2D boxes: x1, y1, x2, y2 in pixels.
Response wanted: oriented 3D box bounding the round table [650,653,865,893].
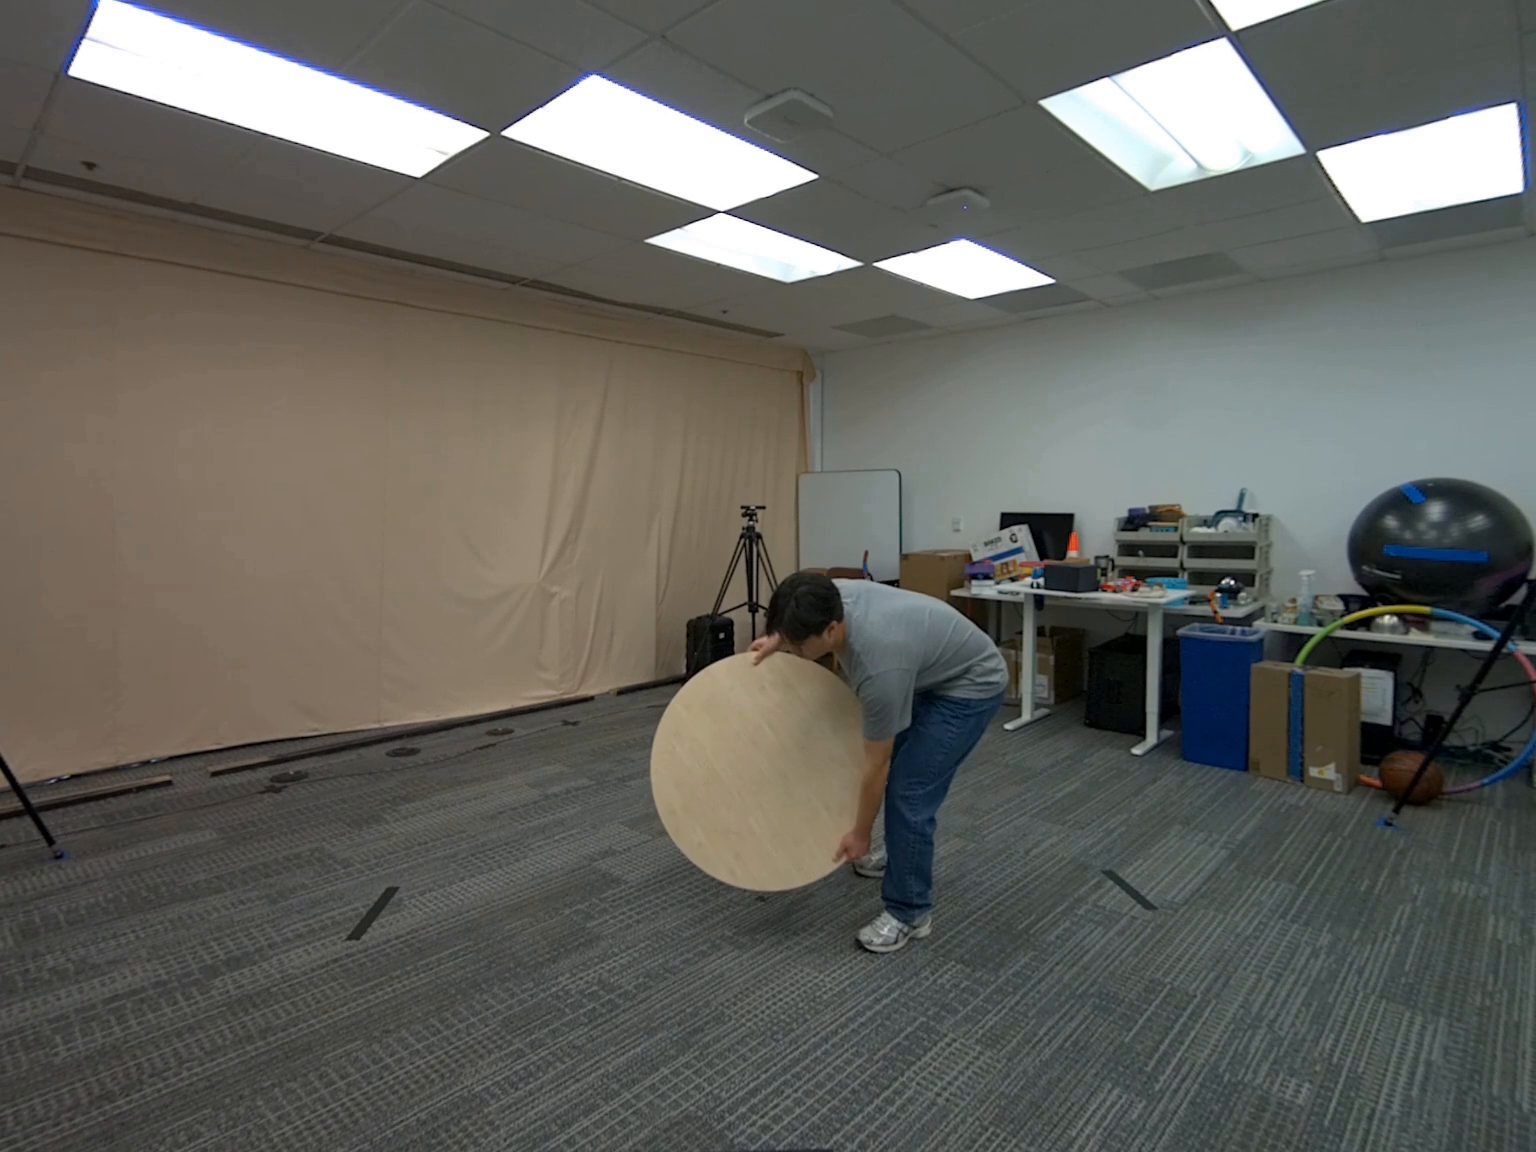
[{"bbox_3d":[-0.010,0.743,3.143,0.767,0.772,0.783,0,-18,2],"label":"round table"}]
